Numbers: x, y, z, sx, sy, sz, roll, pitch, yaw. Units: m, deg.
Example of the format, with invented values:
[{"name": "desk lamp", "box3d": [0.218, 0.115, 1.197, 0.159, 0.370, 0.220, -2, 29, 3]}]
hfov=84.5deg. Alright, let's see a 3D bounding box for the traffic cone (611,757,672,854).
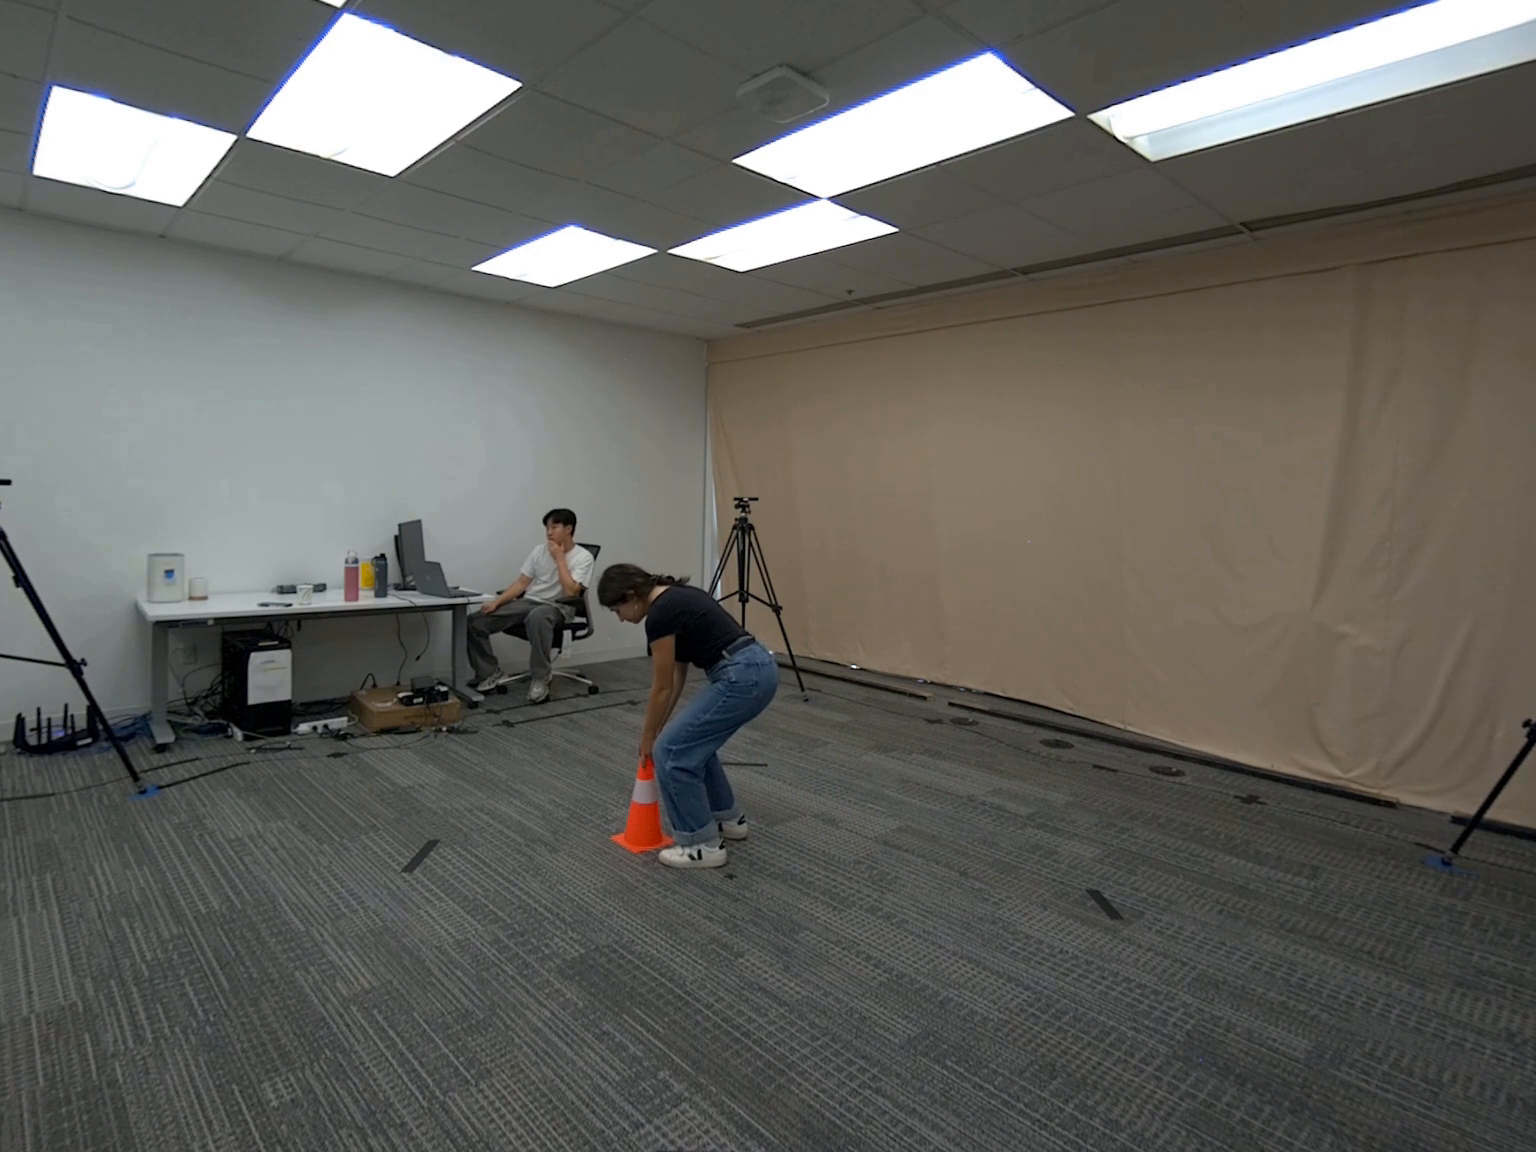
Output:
[{"name": "traffic cone", "box3d": [-0.500, 0.885, 3.399, 0.199, 0.382, 0.210, -1, 6, -42]}]
